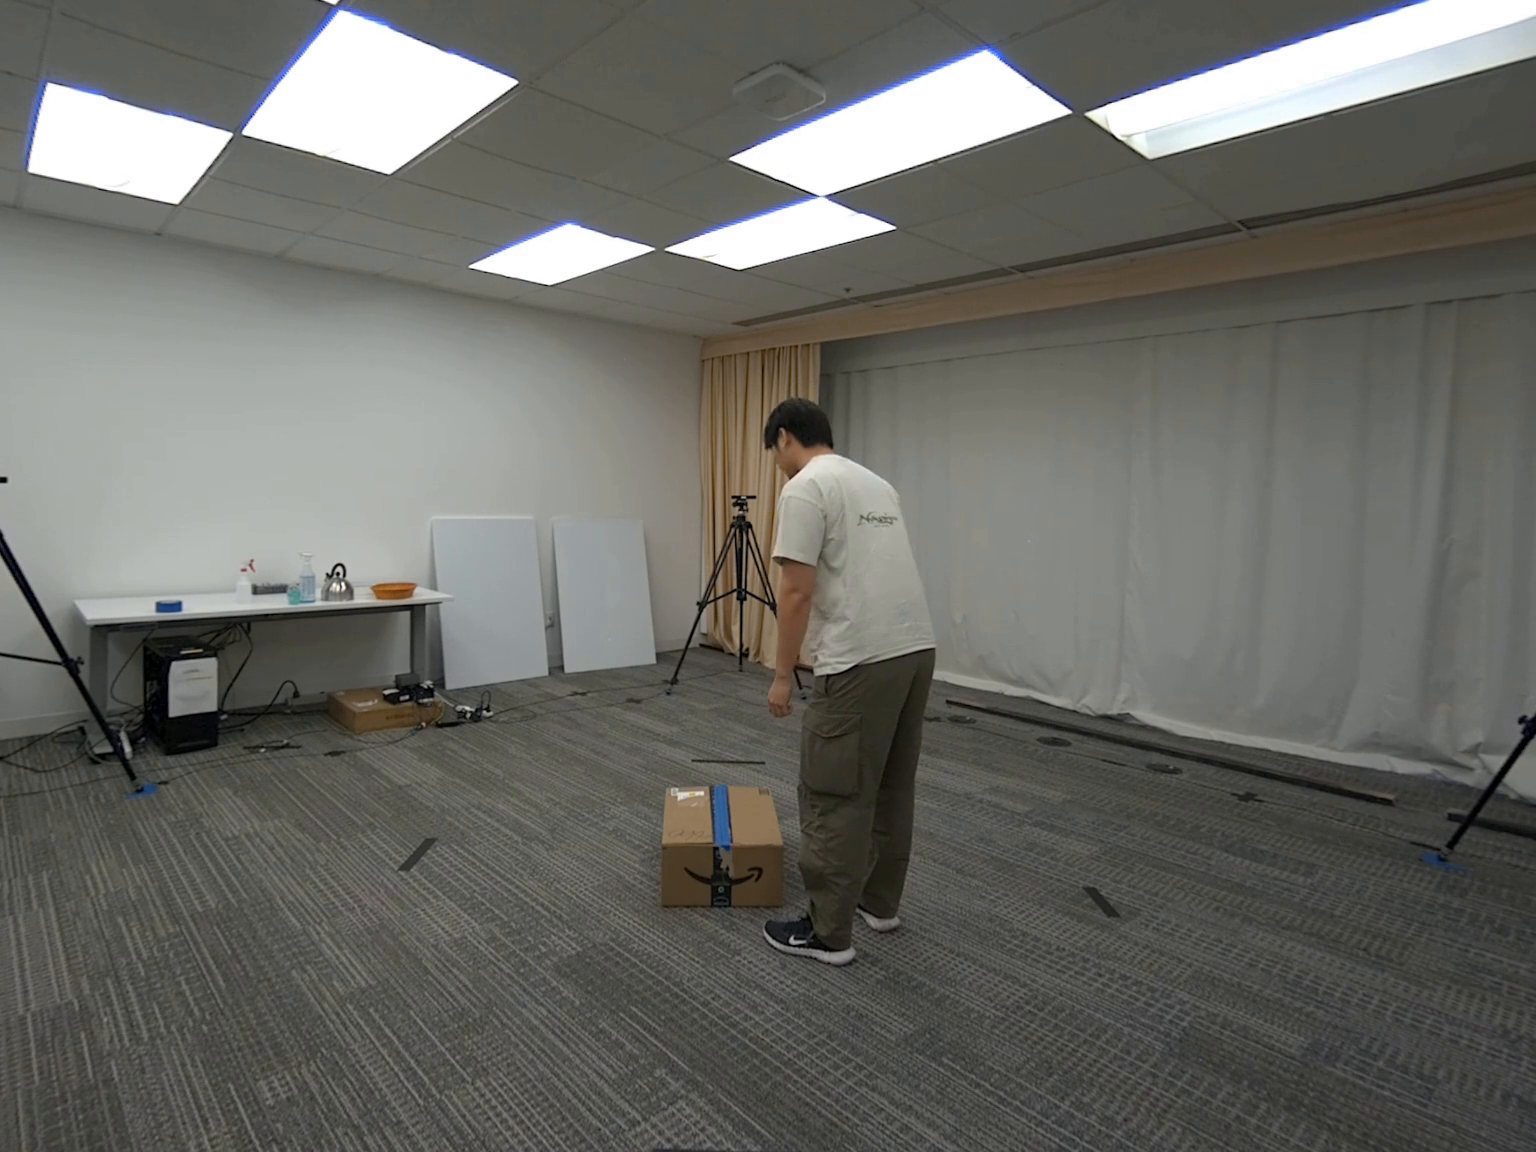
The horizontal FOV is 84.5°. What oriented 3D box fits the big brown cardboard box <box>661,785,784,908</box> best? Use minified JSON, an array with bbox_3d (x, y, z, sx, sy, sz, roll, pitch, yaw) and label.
[{"bbox_3d":[-0.185,0.985,3.131,0.416,0.232,0.593,1,6,-4],"label":"big brown cardboard box"}]
